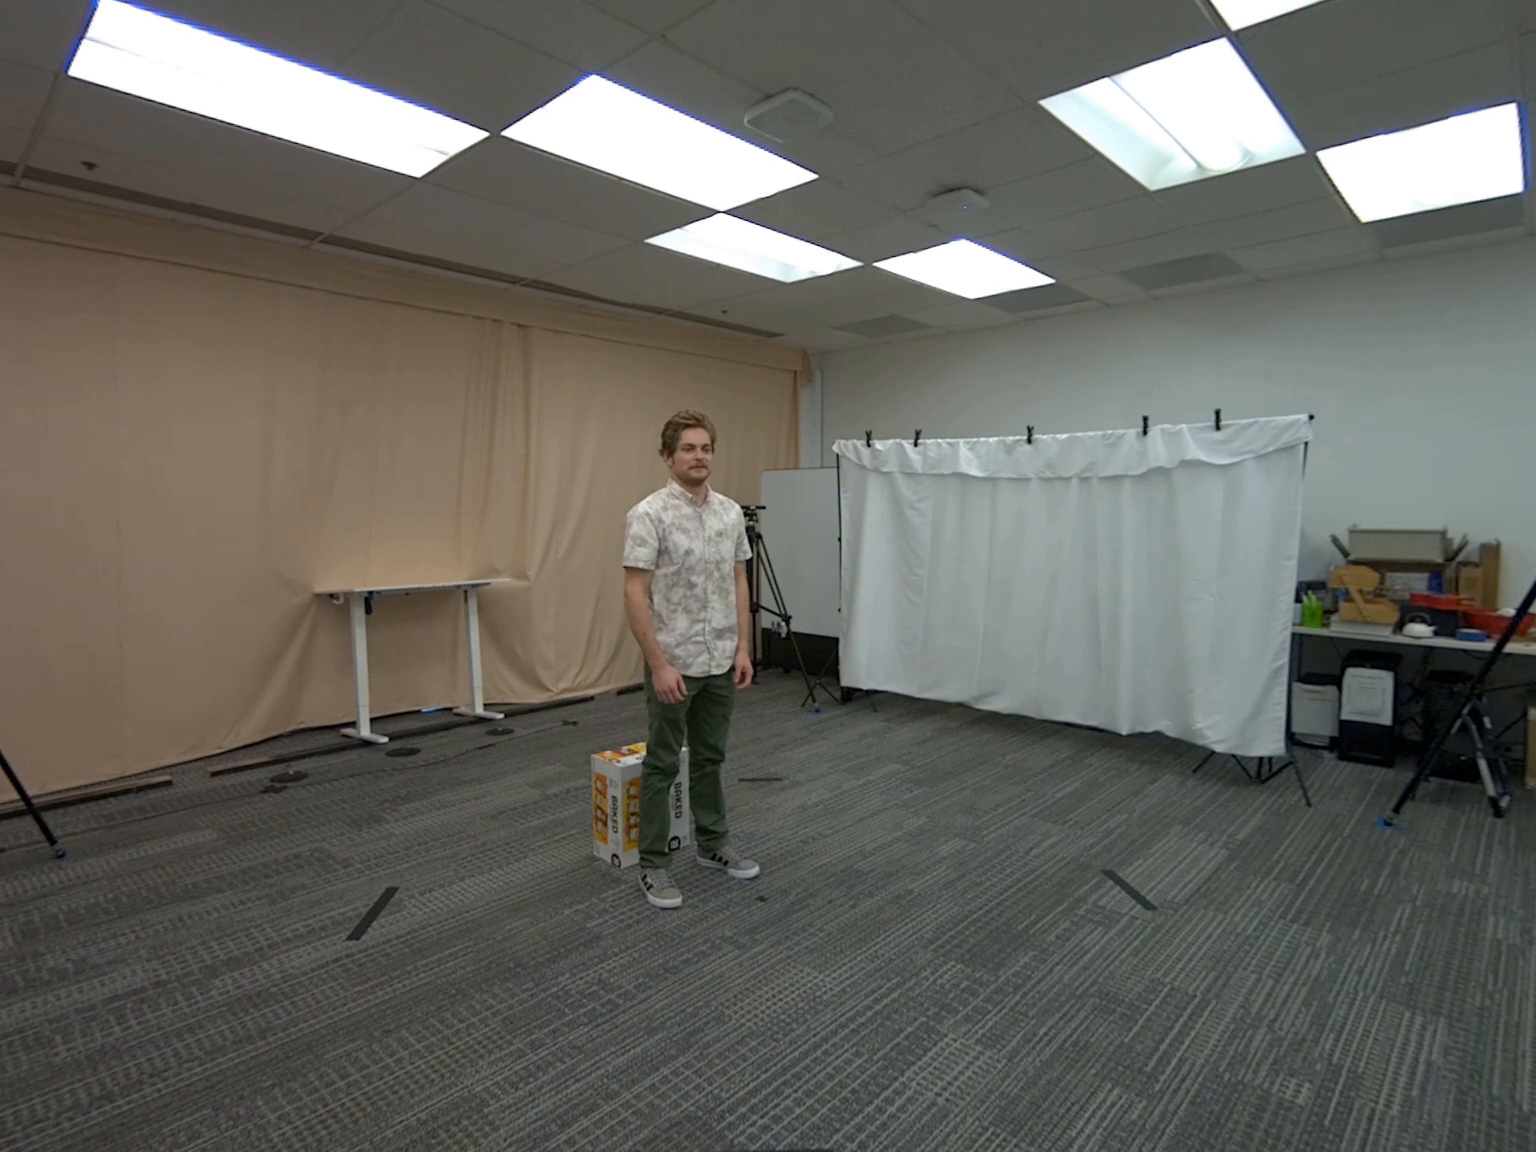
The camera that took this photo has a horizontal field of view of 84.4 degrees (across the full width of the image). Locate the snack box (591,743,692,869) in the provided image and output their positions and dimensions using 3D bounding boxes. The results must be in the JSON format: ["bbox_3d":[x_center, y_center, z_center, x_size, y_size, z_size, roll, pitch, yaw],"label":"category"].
[{"bbox_3d":[-0.517,0.911,3.412,0.330,0.404,0.212,-4,5,-44],"label":"snack box"}]
